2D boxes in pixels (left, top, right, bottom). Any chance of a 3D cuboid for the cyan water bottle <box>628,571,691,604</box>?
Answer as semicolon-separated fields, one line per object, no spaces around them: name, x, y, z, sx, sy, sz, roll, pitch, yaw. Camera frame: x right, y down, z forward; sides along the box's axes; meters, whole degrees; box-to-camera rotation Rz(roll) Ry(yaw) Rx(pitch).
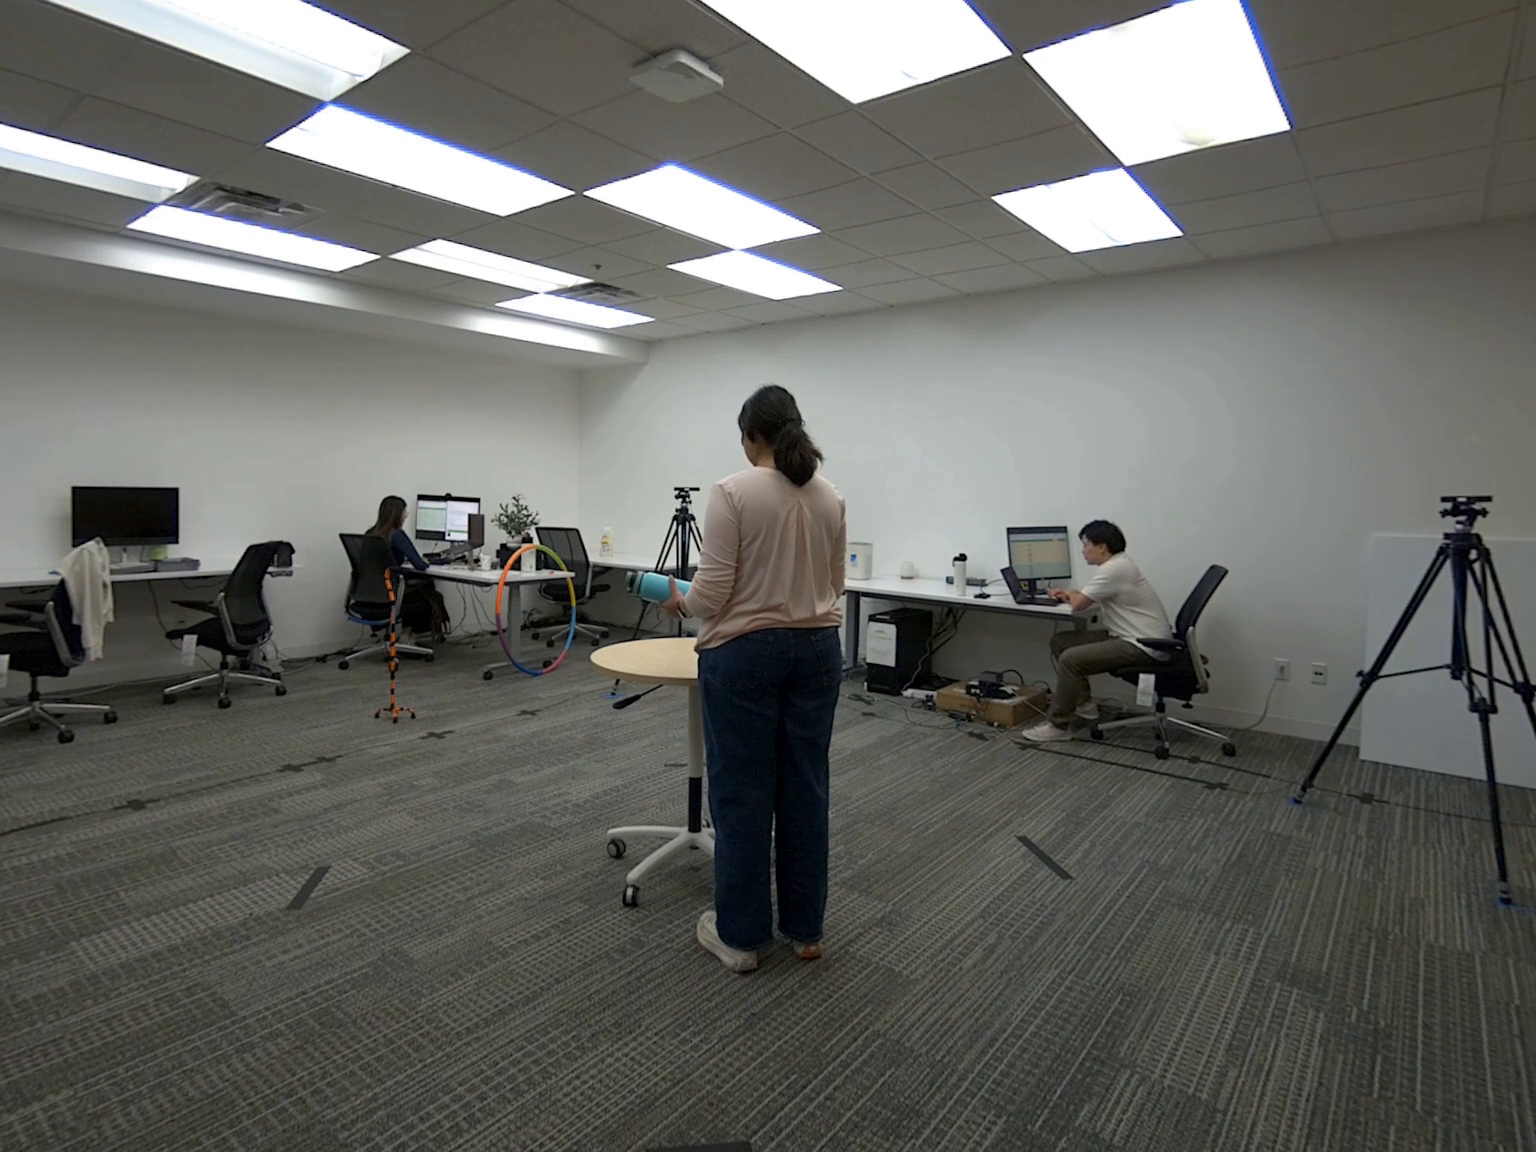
cyan water bottle;-0.328;0.050;2.709;0.286;0.092;0.092;14;5;7
